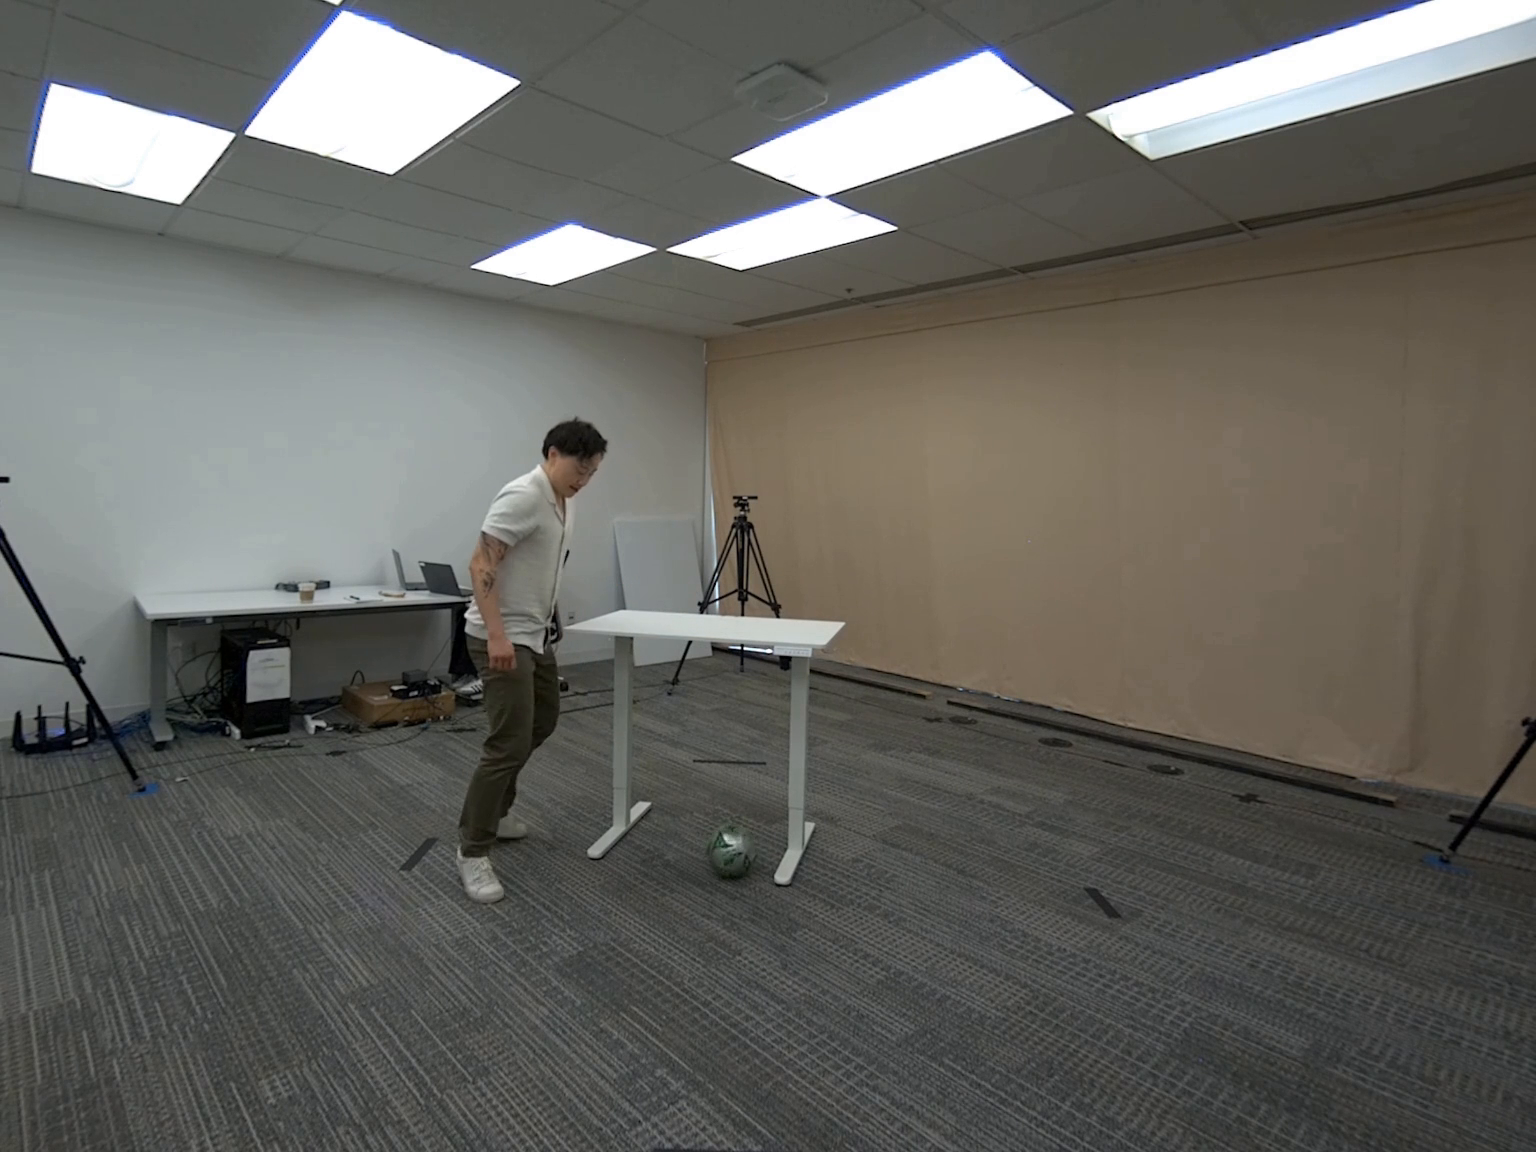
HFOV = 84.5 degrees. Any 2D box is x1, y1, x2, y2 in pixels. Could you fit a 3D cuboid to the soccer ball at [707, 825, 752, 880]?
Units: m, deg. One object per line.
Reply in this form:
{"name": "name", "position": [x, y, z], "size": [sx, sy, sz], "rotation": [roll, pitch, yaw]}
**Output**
{"name": "soccer ball", "position": [-0.145, 1.012, 3.094], "size": [0.187, 0.187, 0.188], "rotation": [1, 4, -1]}
